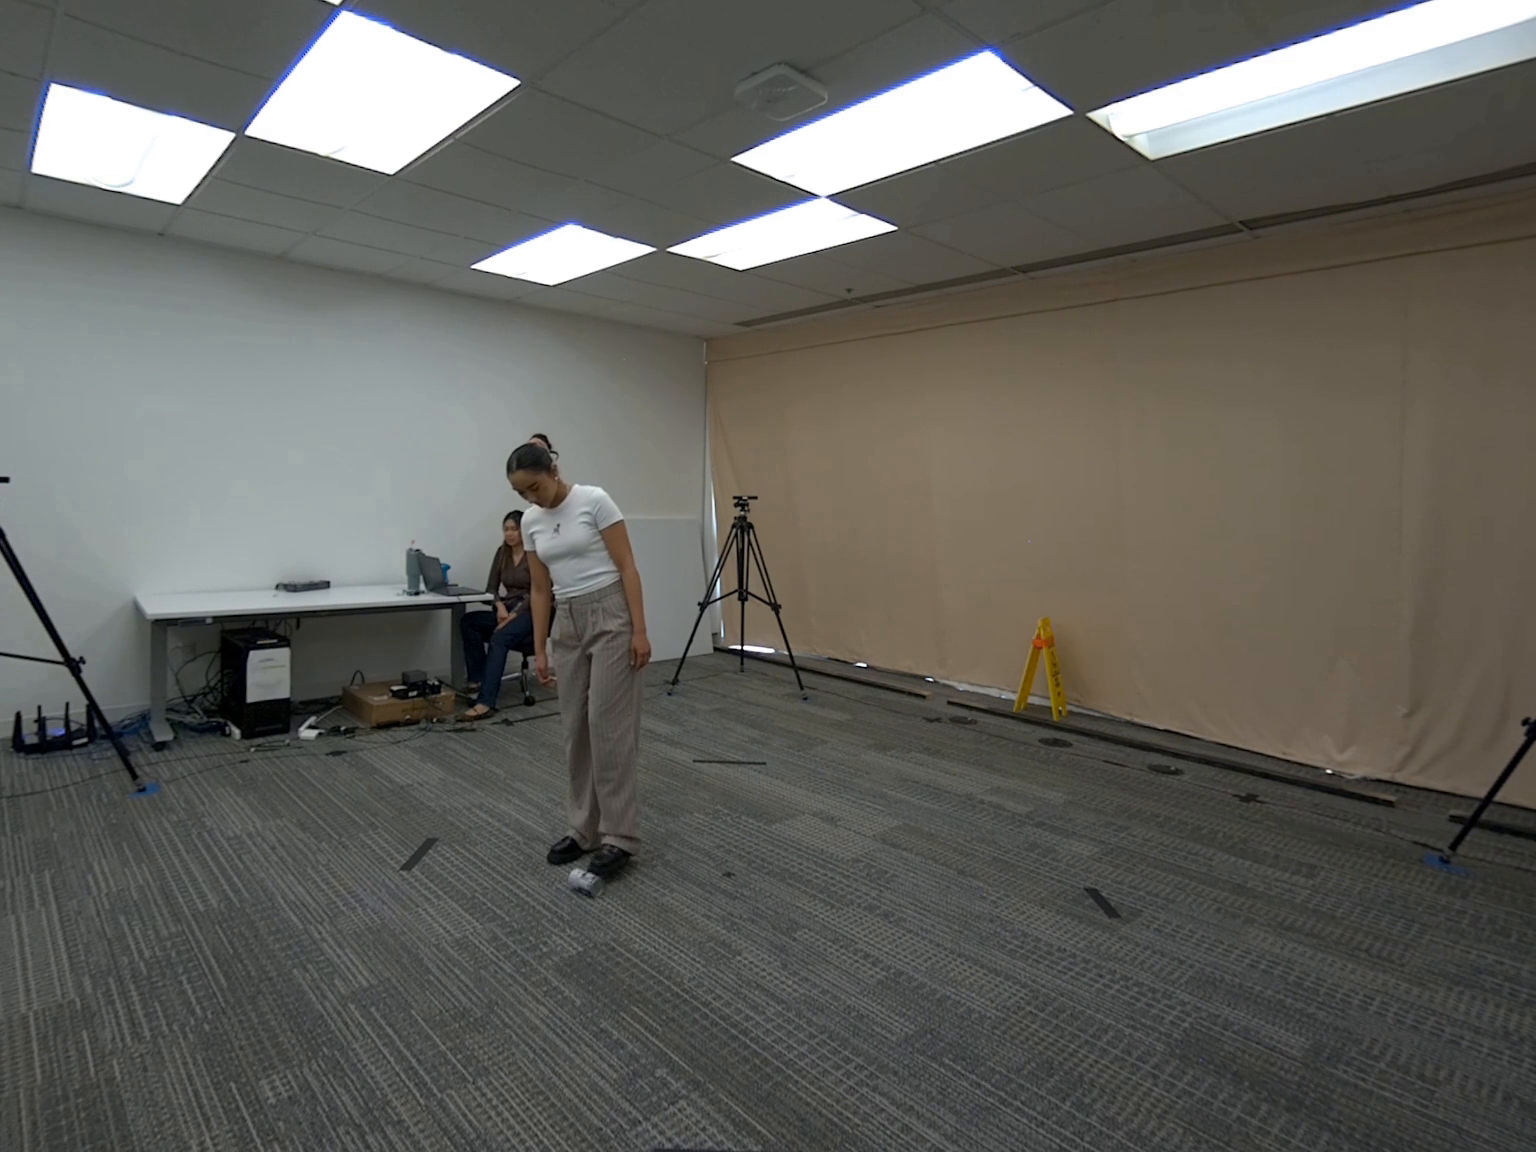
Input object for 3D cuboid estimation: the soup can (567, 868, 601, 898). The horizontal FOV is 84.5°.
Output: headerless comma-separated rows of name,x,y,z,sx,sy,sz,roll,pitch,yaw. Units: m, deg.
soup can,-0.655,1.070,2.949,0.124,0.067,0.066,7,7,31
